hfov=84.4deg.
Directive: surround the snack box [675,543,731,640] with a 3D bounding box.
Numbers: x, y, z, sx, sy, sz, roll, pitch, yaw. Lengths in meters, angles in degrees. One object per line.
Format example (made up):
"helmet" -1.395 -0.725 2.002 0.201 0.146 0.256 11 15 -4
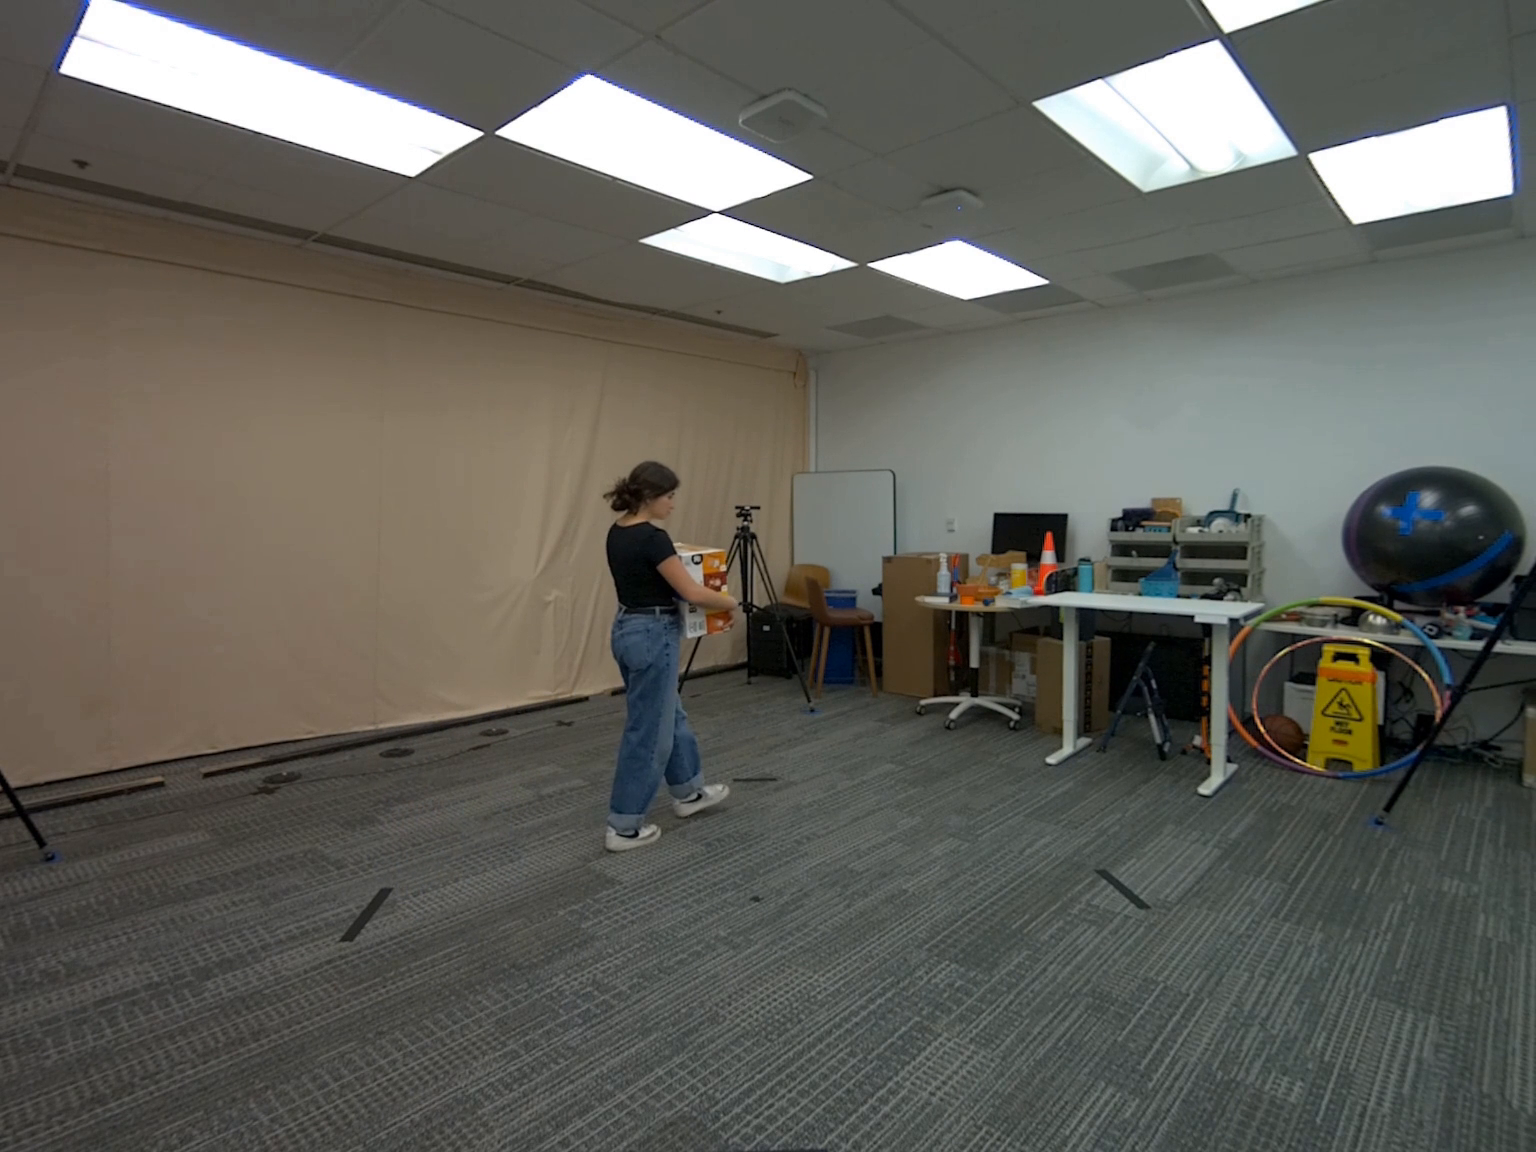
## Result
"snack box" -0.355 0.048 3.601 0.200 0.338 0.418 -7 10 -31
